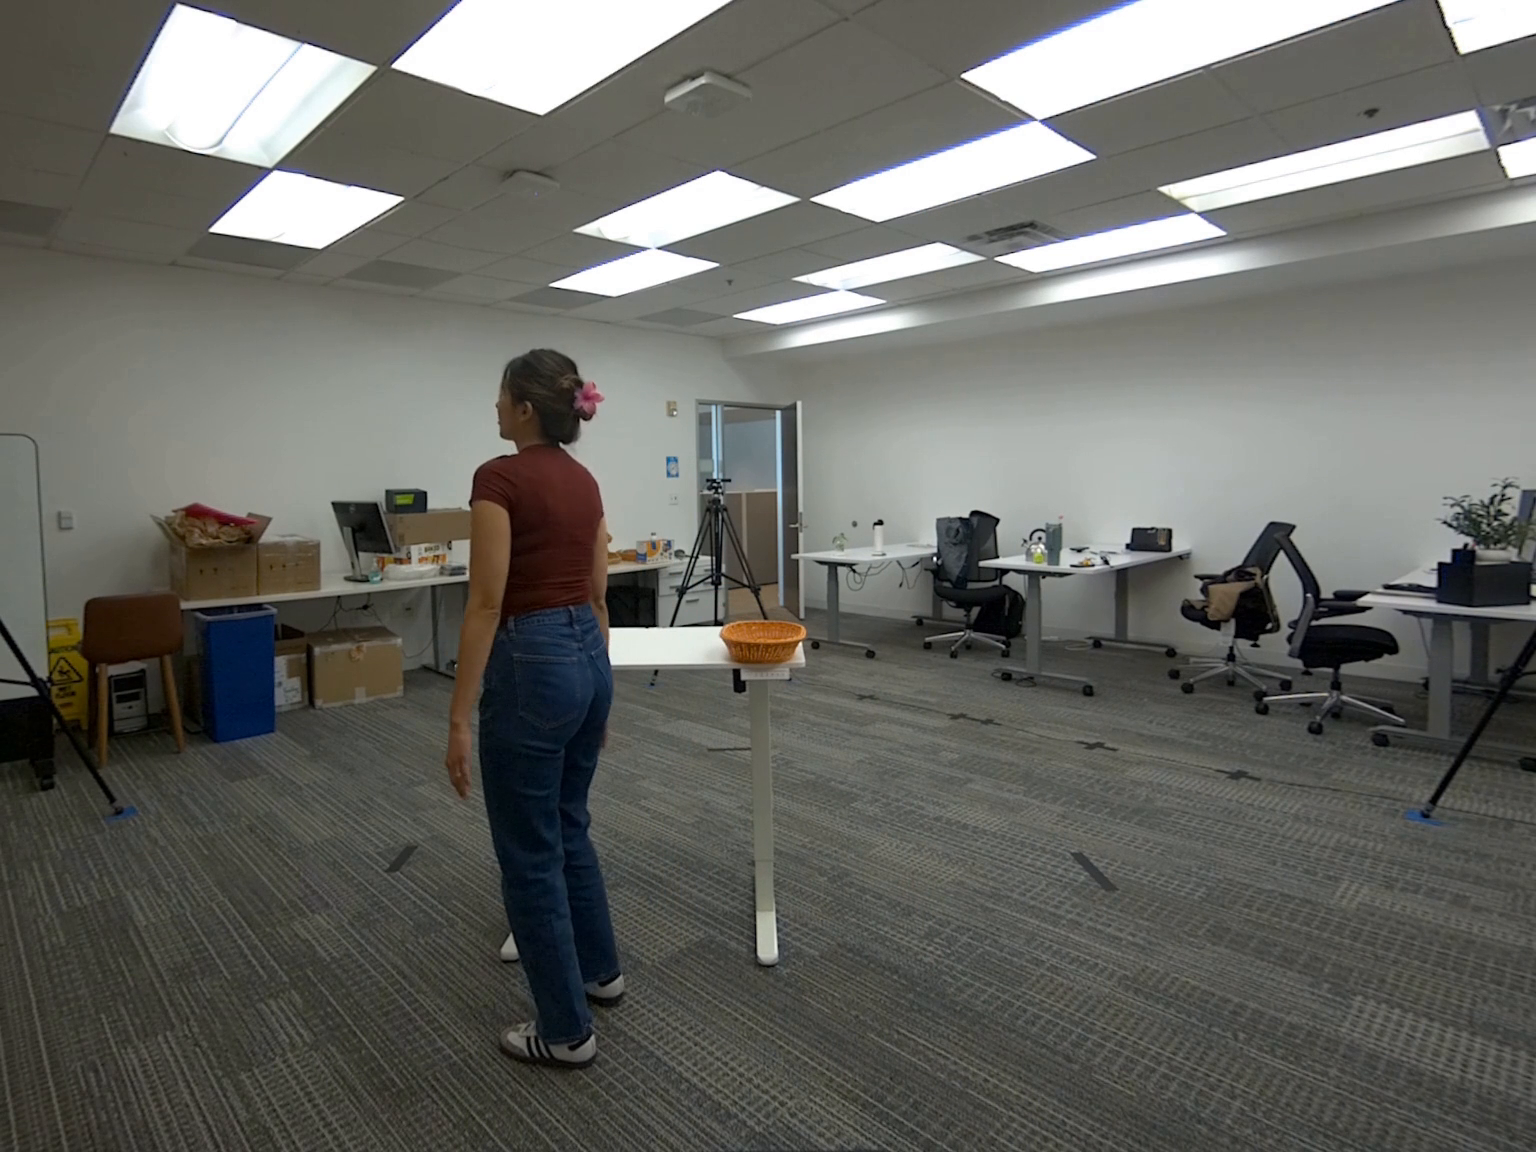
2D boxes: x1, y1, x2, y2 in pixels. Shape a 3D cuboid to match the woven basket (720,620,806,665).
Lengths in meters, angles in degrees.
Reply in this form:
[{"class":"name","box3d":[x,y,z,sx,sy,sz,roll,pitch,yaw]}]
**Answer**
[{"class":"woven basket","box3d":[-0.020,0.198,2.494,0.255,0.073,0.348,1,6,11]}]
